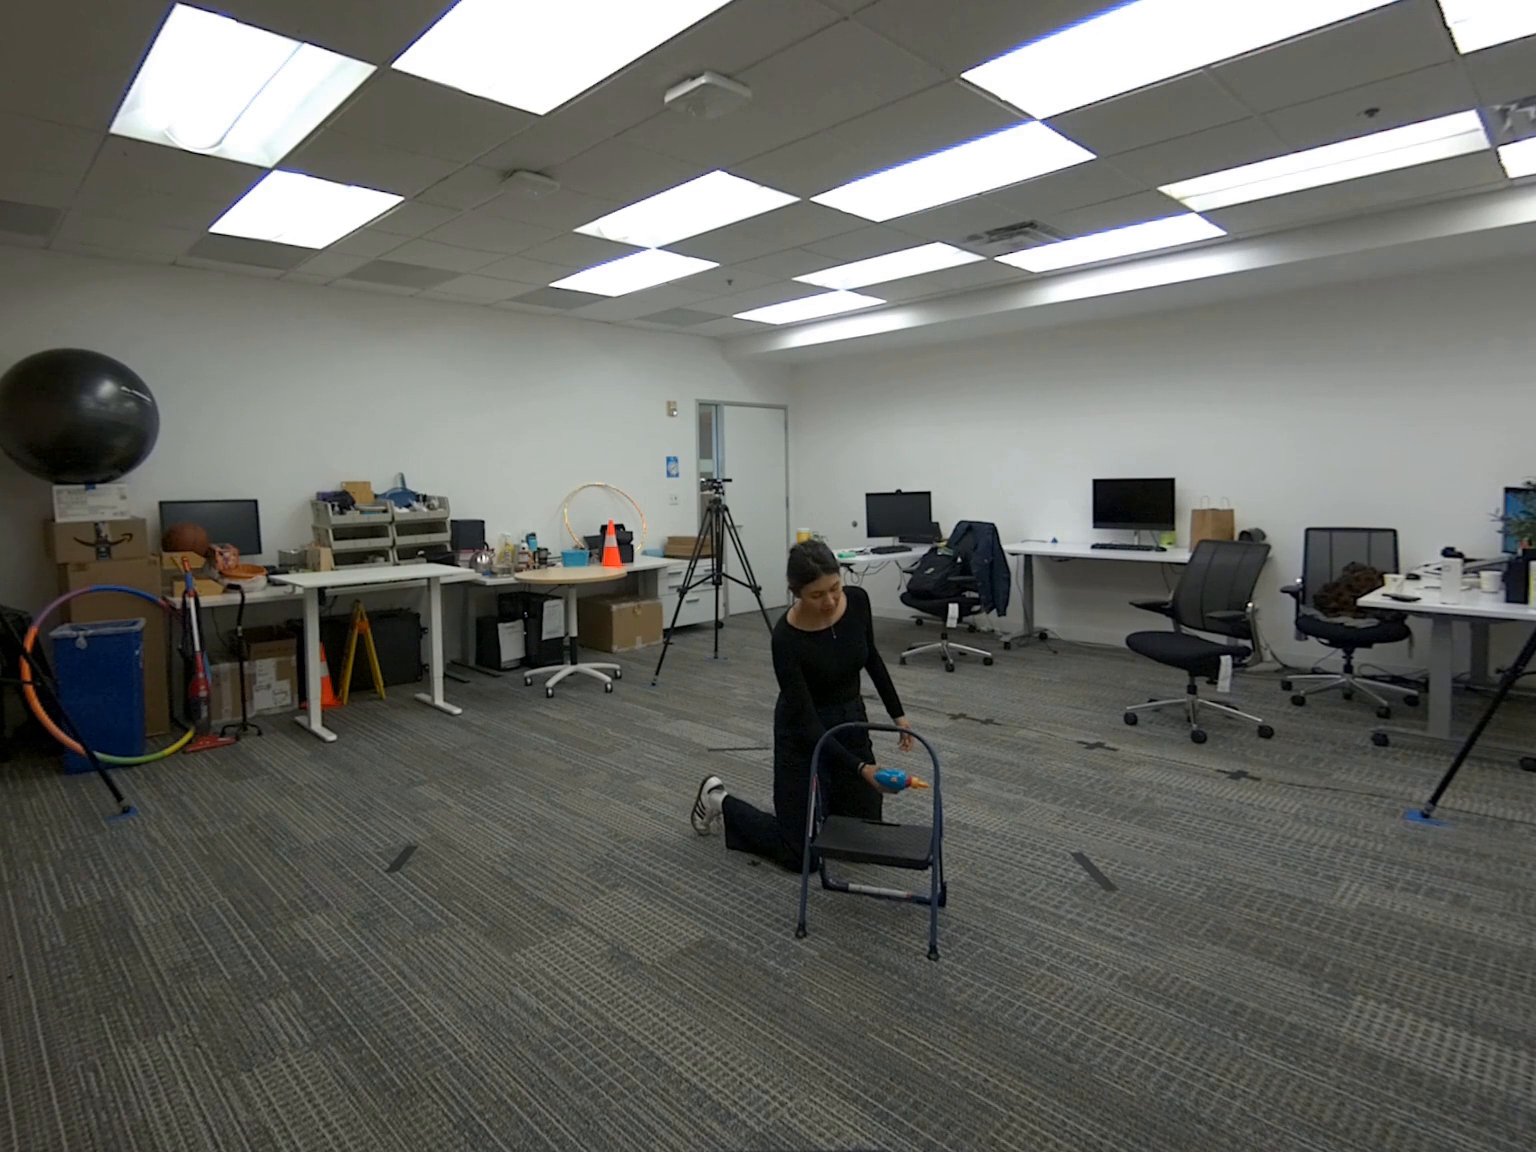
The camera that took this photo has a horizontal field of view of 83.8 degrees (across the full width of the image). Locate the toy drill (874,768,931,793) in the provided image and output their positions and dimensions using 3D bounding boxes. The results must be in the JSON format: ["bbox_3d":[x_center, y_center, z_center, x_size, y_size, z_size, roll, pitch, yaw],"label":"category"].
[{"bbox_3d":[0.435,0.652,2.669,0.173,0.061,0.142,10,-8,17],"label":"toy drill"}]
